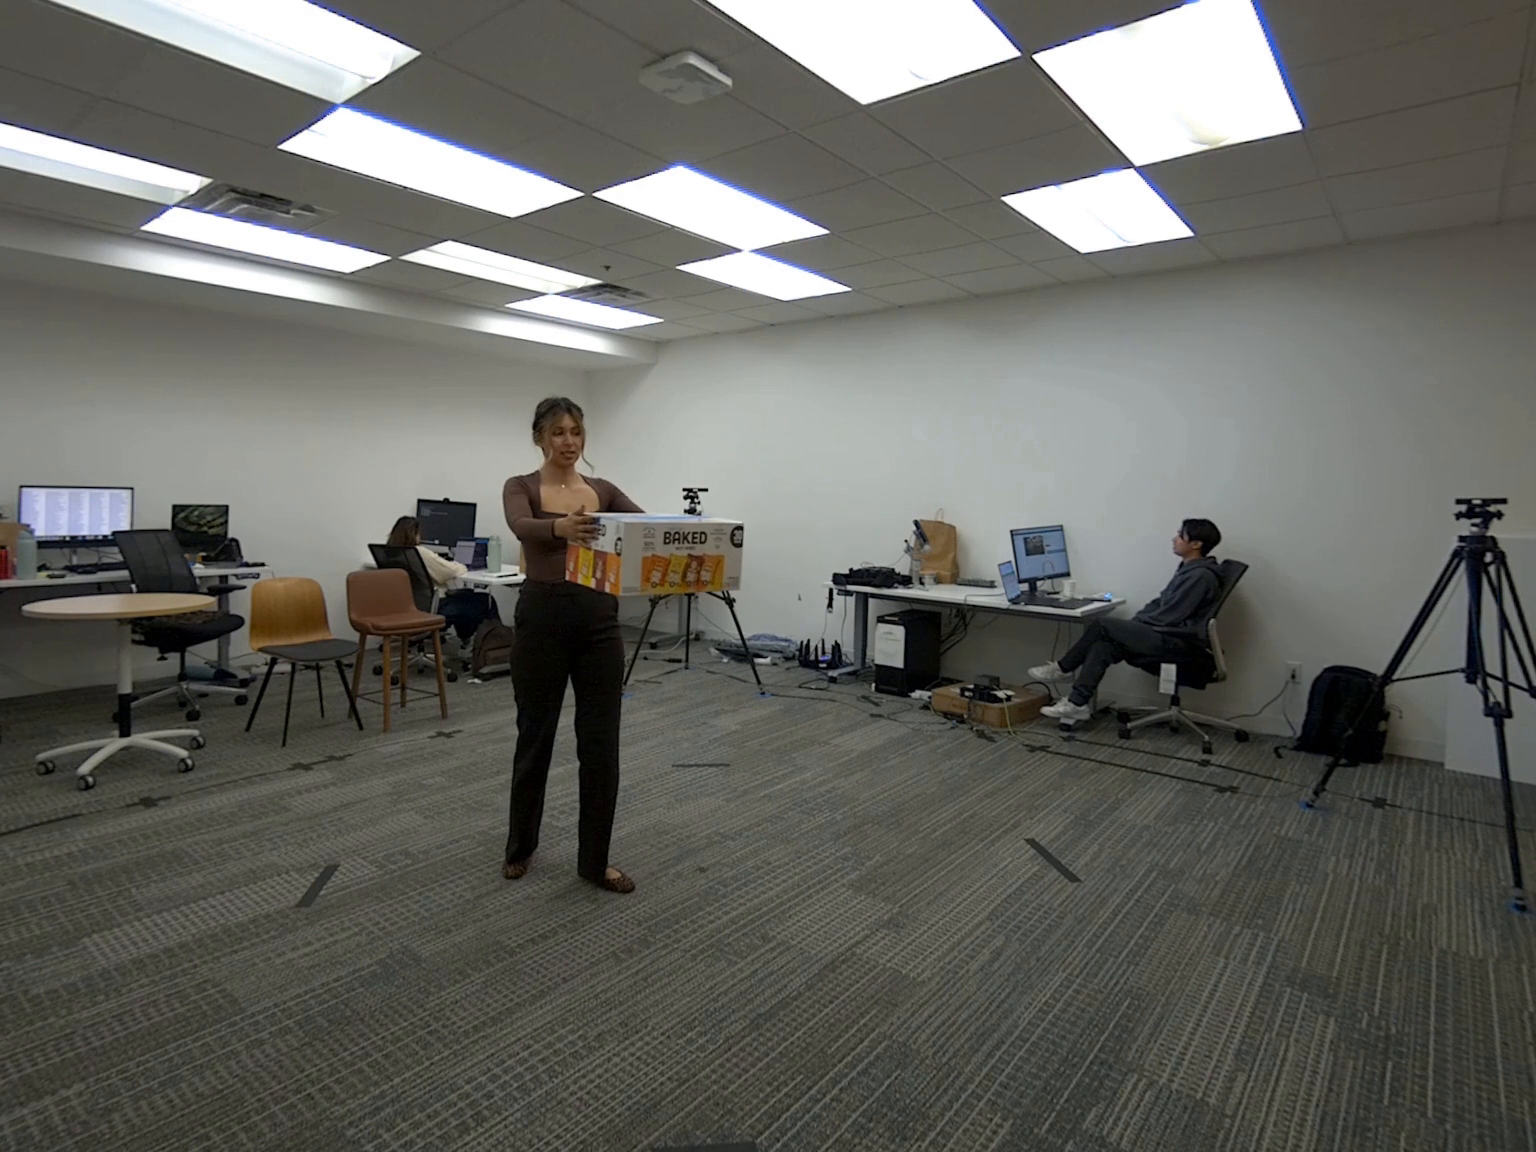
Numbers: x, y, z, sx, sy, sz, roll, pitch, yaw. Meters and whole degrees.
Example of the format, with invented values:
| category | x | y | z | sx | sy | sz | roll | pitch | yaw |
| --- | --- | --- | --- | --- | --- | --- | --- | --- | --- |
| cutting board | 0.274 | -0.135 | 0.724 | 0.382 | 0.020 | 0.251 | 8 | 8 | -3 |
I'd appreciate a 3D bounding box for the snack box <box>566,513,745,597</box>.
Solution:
| category | x | y | z | sx | sy | sz | roll | pitch | yaw |
| --- | --- | --- | --- | --- | --- | --- | --- | --- | --- |
| snack box | -0.346 | -0.072 | 2.509 | 0.393 | 0.205 | 0.352 | -1 | 8 | -38 |
